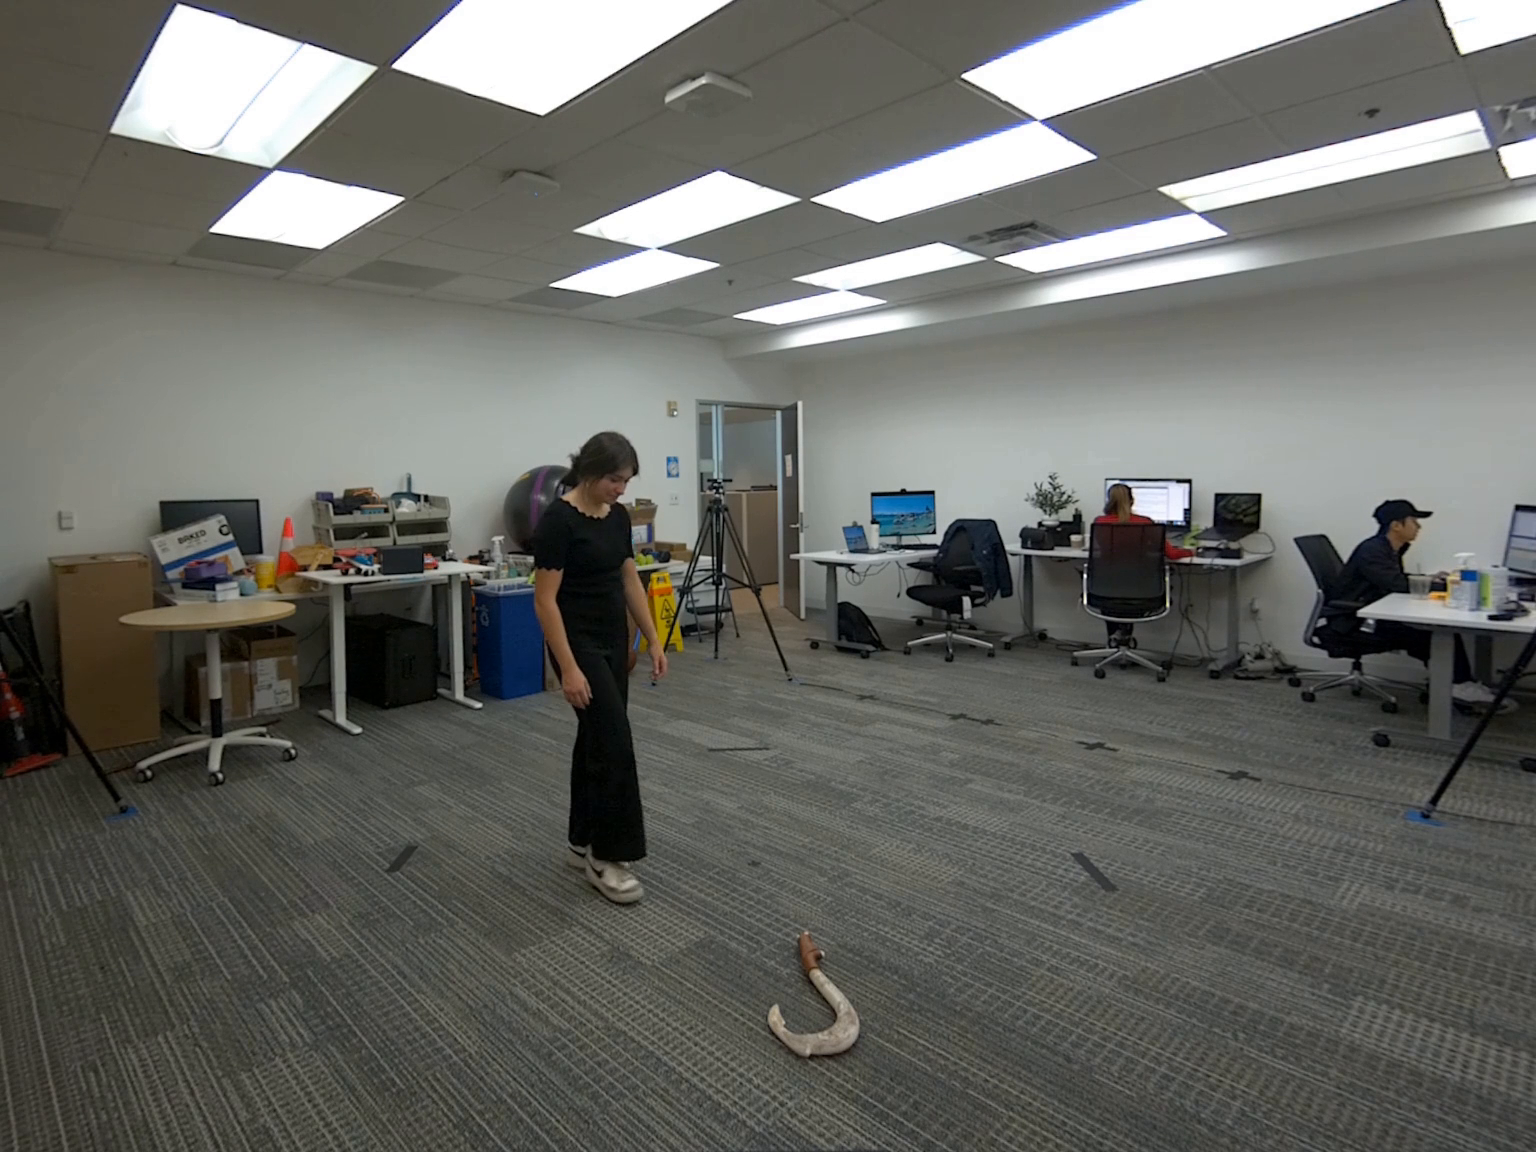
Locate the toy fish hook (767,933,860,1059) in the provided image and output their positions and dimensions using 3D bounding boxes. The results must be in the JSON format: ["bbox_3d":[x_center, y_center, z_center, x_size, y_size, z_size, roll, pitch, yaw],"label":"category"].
[{"bbox_3d":[0.098,1.113,2.305,0.223,0.048,0.513,-1,6,-9],"label":"toy fish hook"}]
